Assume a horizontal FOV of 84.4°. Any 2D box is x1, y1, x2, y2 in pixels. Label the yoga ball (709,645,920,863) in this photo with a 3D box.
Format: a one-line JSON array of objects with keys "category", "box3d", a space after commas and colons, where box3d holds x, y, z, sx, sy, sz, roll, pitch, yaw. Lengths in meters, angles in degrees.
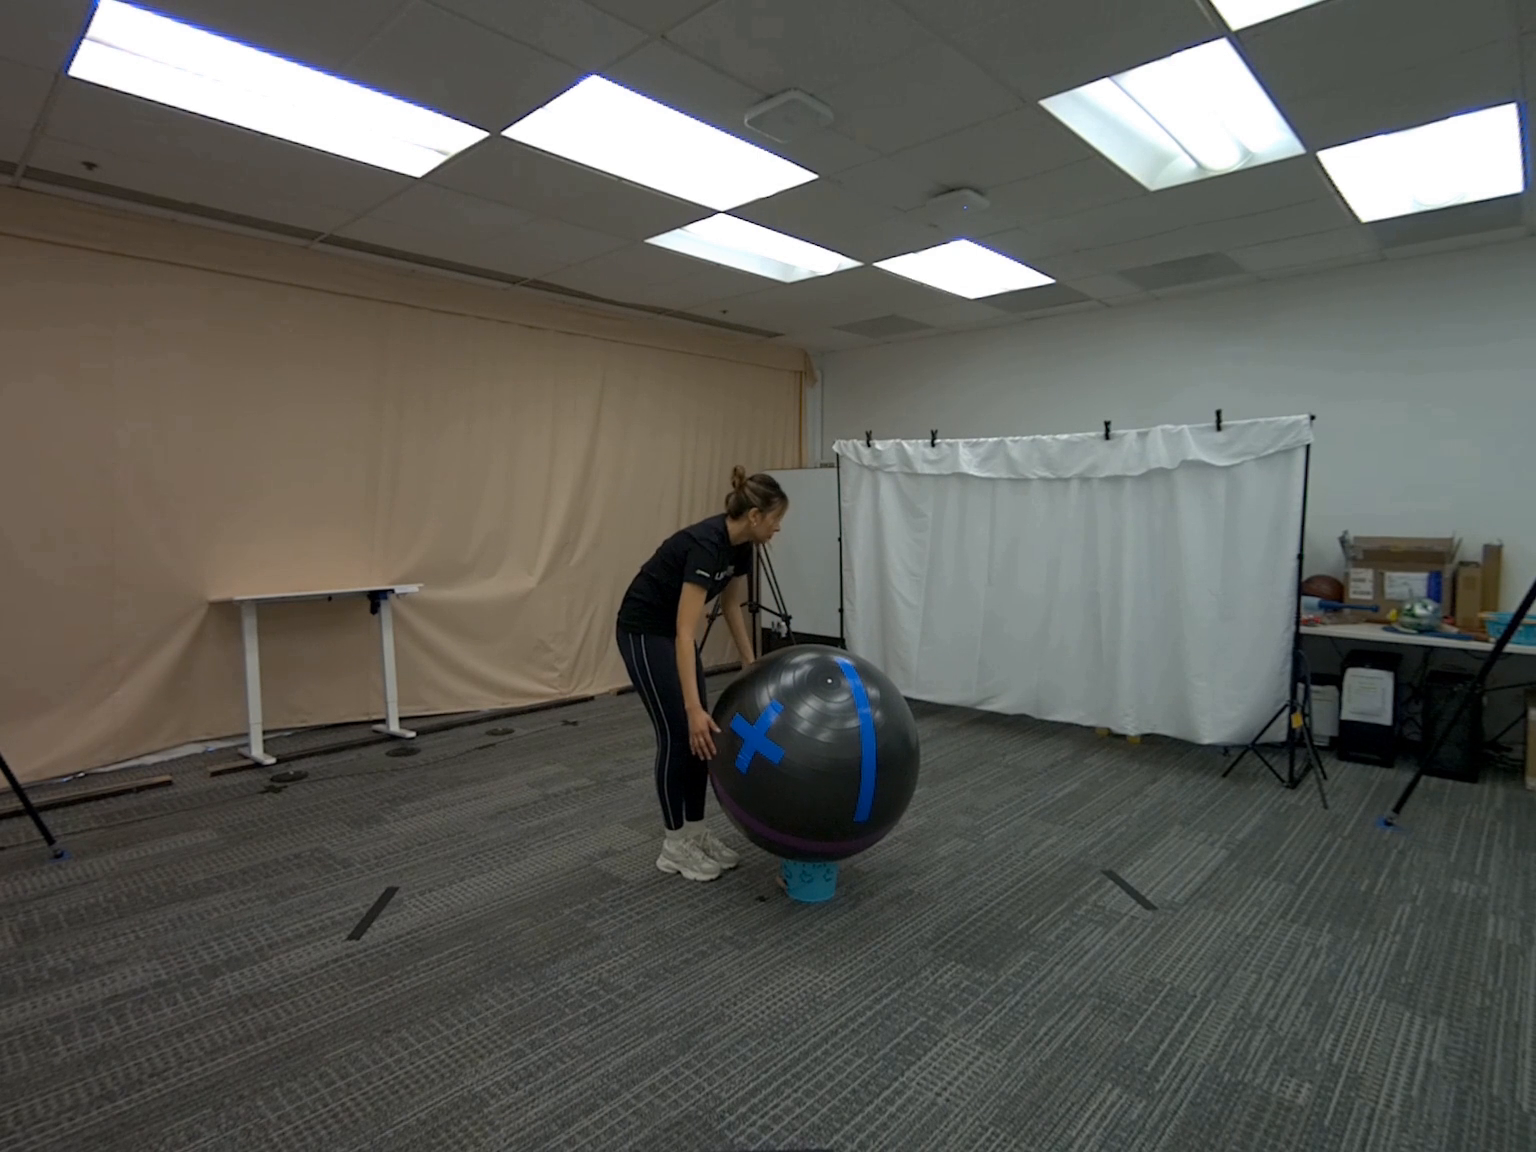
[{"category": "yoga ball", "box3d": [0.168, 0.632, 3.021, 0.757, 0.756, 0.760, 0, 4, -2]}]
